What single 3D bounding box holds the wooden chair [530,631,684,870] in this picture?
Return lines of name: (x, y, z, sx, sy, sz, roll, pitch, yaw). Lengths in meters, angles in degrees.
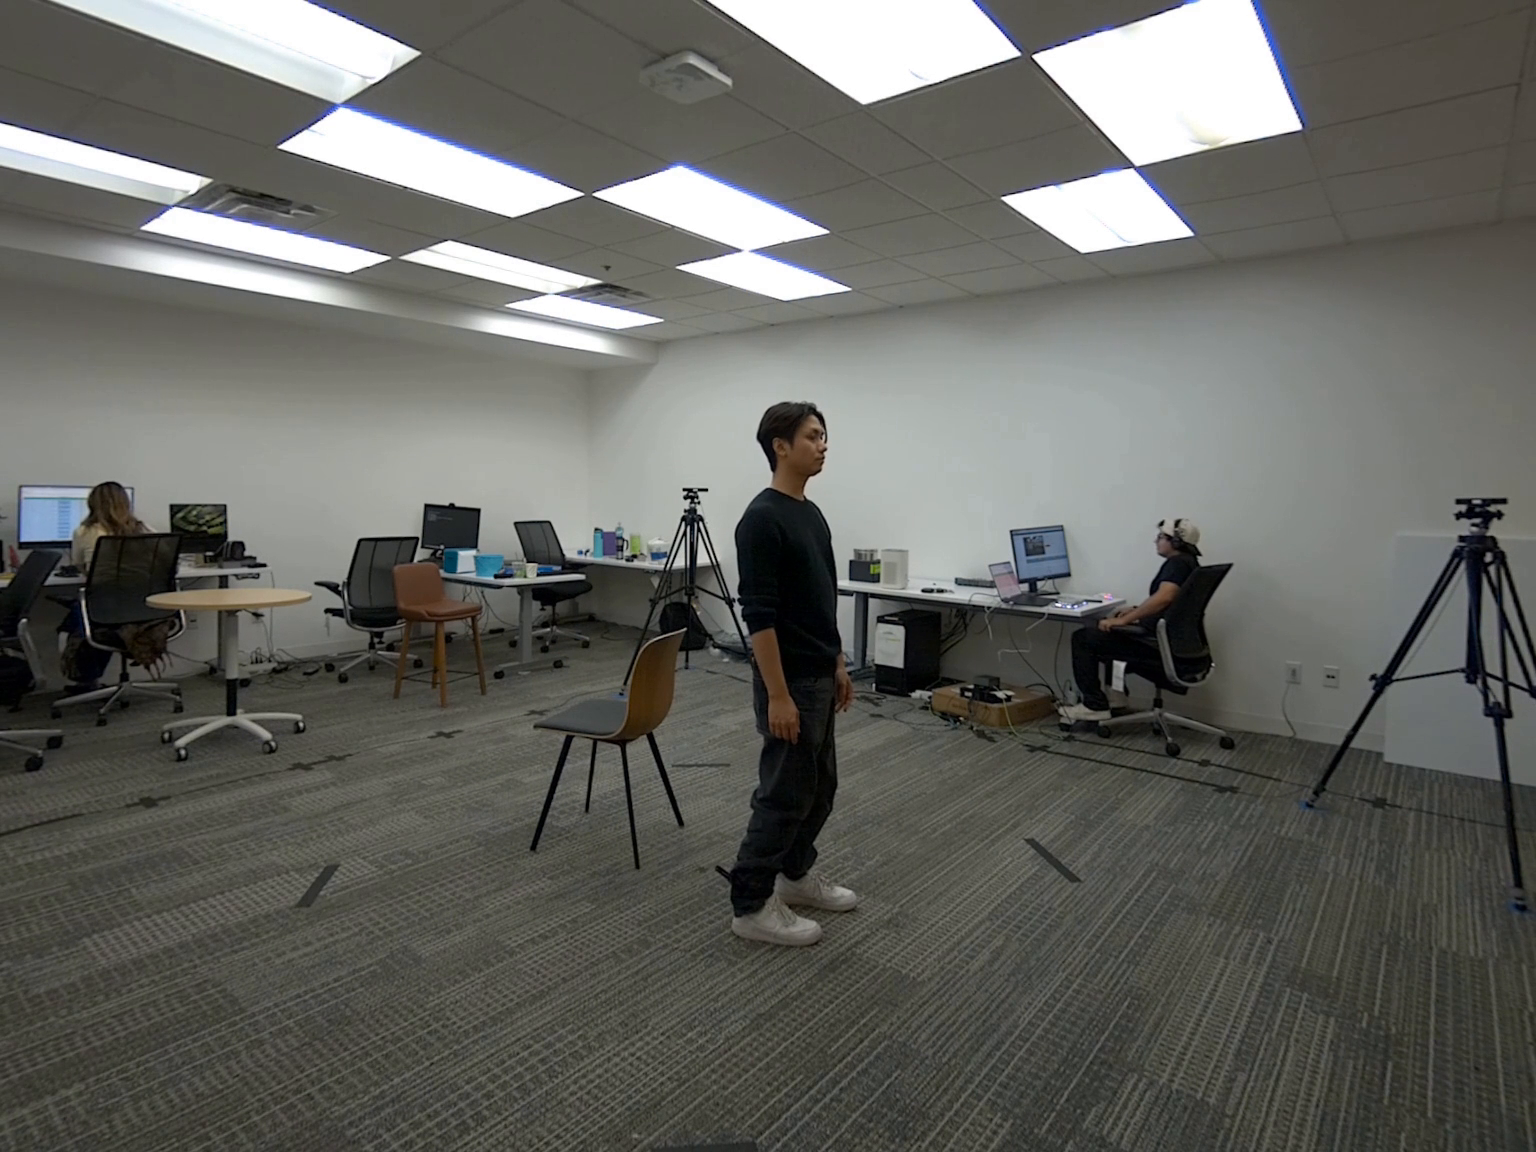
wooden chair: (-0.638, 0.611, 3.349, 0.534, 0.874, 0.470, 7, 5, 18)
